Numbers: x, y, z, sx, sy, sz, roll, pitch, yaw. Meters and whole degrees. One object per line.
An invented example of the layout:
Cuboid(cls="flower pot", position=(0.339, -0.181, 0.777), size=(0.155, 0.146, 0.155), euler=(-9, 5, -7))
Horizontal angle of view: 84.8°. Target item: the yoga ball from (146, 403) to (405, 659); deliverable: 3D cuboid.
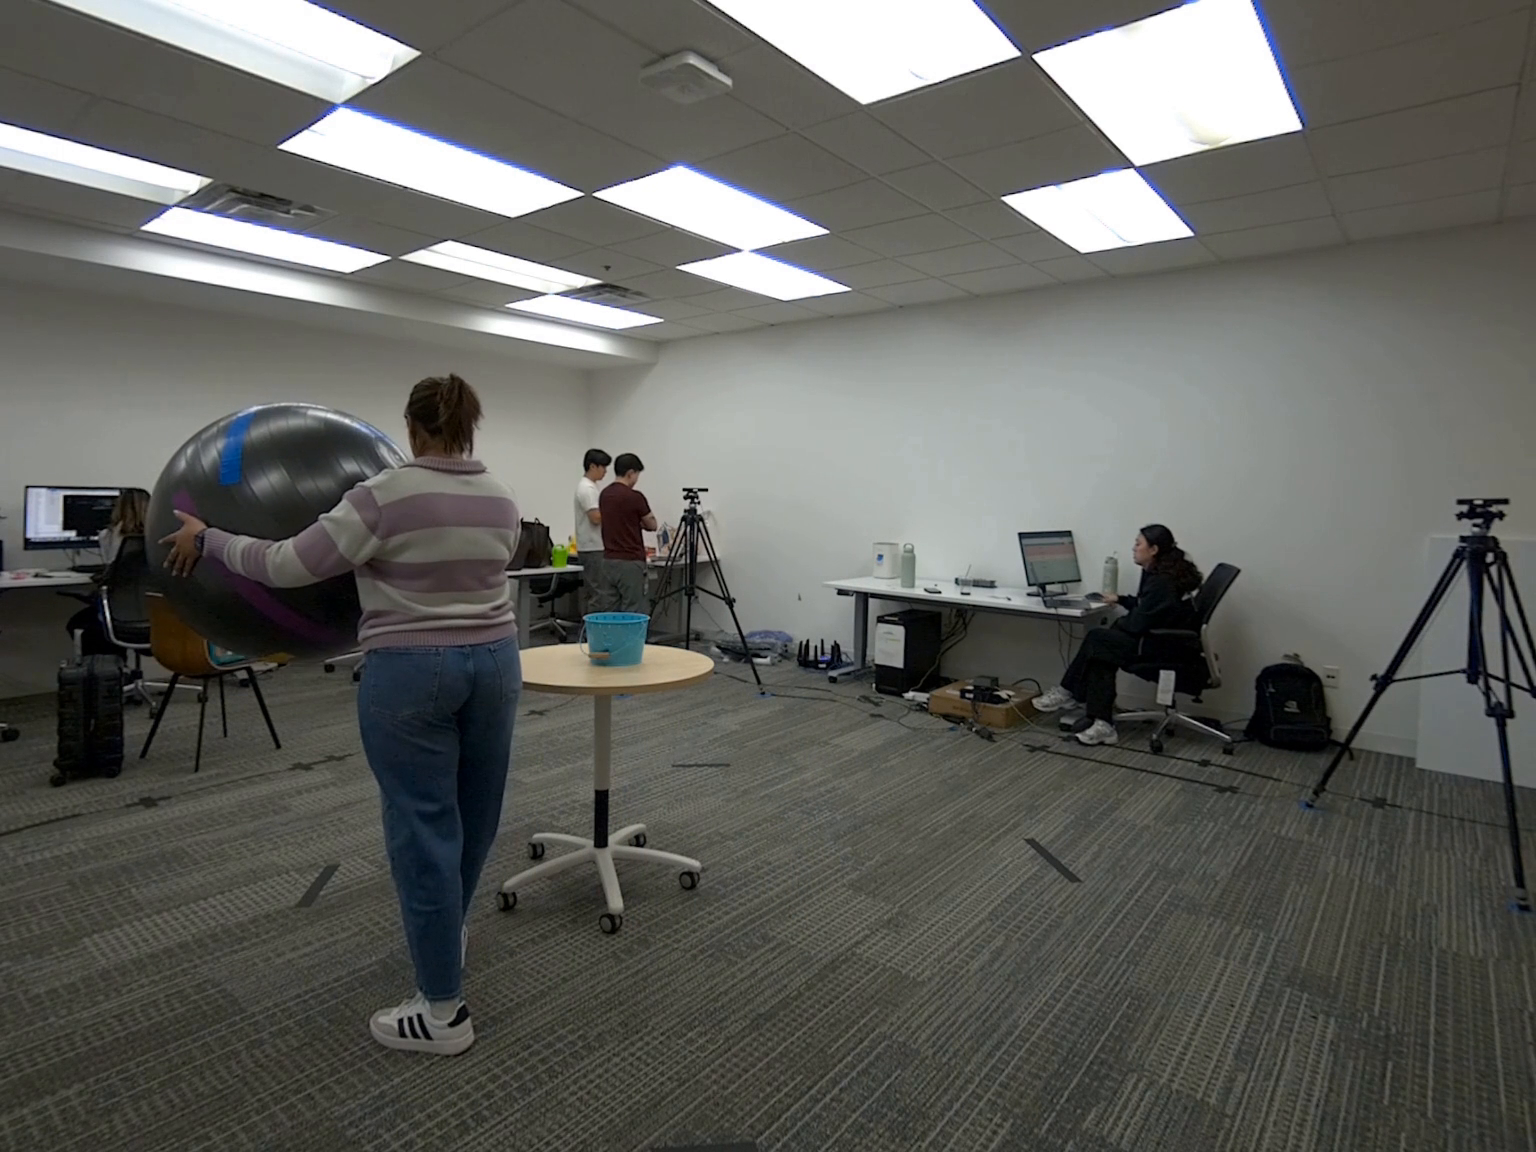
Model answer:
Cuboid(cls="yoga ball", position=(-1.410, -0.121, 2.496), size=(0.757, 0.755, 0.762), euler=(1, 4, -2))
